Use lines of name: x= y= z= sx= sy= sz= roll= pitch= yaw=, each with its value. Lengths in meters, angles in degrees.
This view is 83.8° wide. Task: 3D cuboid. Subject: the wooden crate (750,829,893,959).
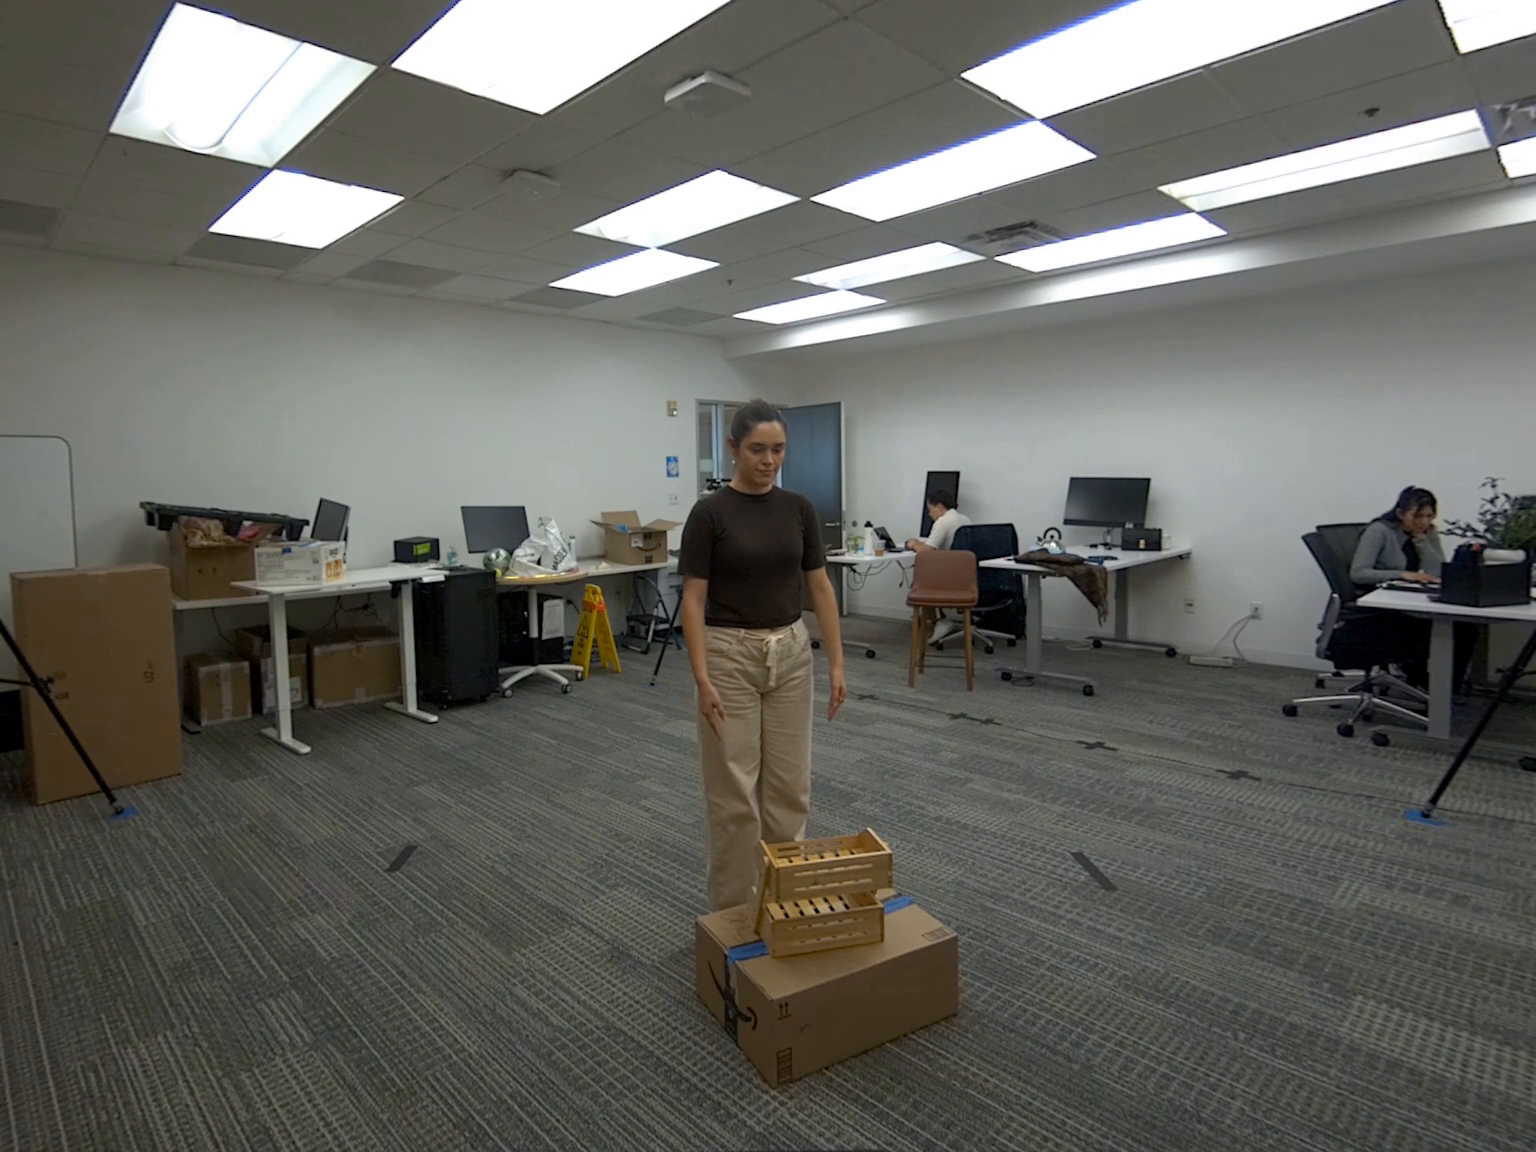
wooden crate: x=0.130 y=0.795 z=2.242 sx=0.320 sy=0.272 sz=0.307 roll=-3 pitch=7 yaw=-14
